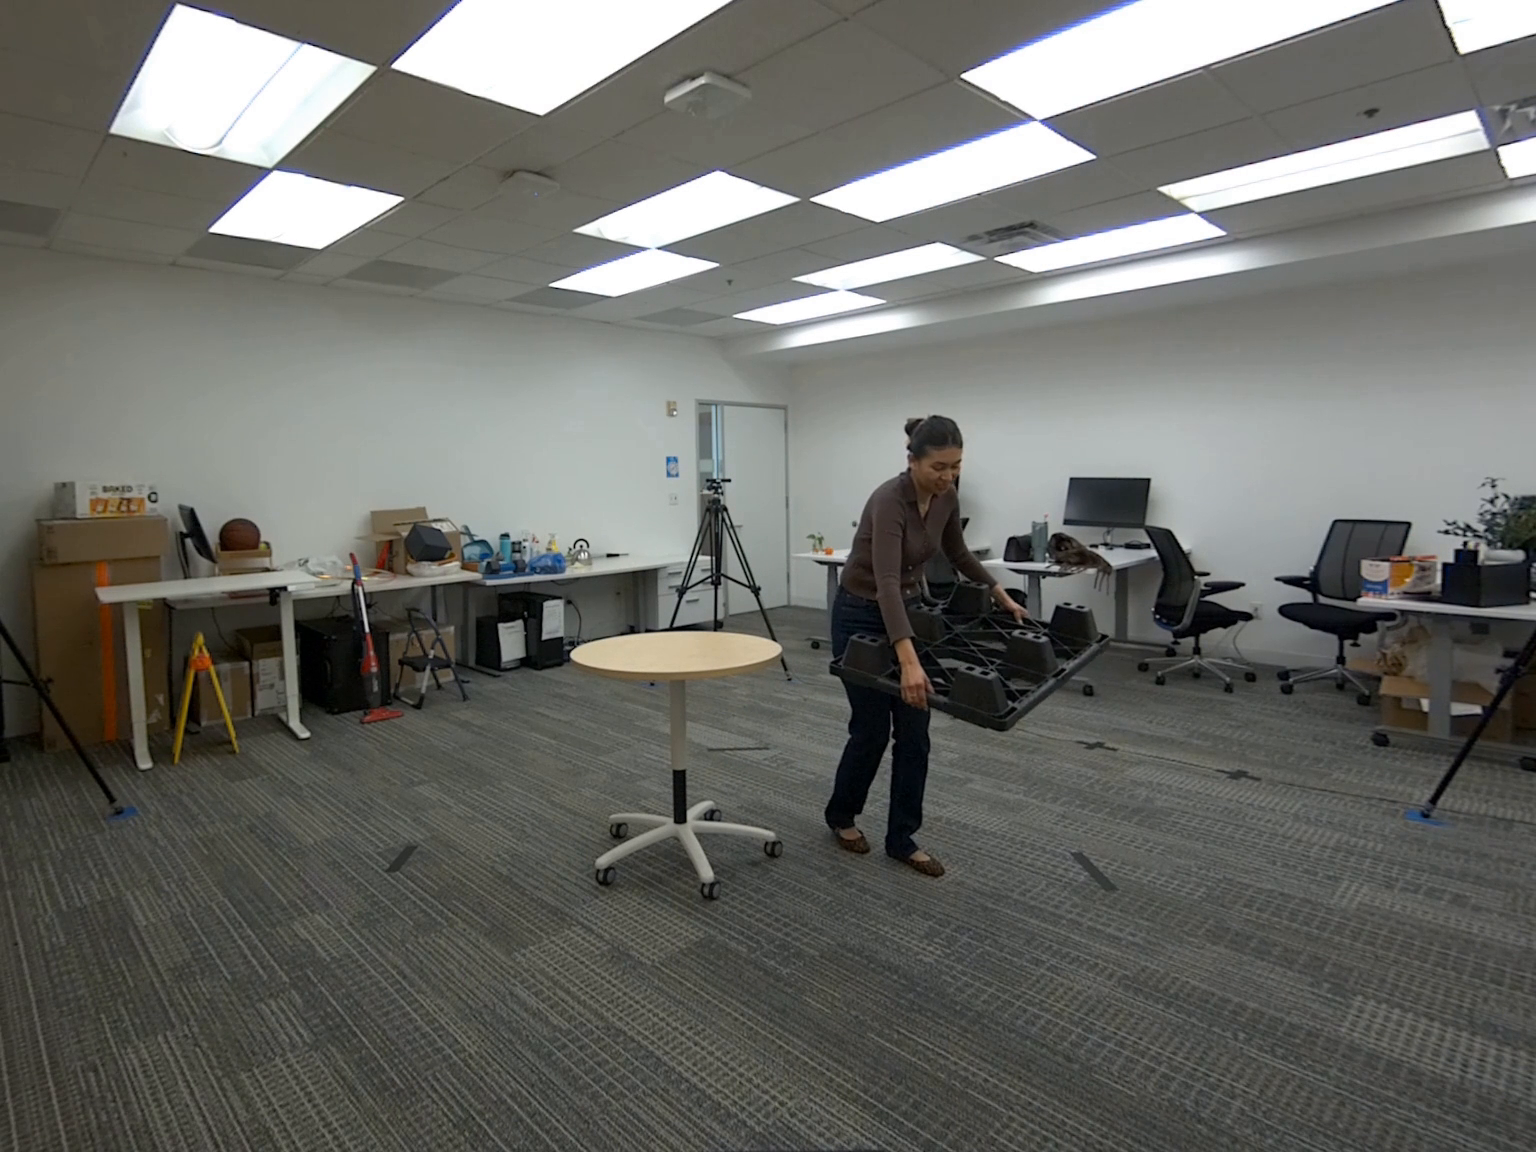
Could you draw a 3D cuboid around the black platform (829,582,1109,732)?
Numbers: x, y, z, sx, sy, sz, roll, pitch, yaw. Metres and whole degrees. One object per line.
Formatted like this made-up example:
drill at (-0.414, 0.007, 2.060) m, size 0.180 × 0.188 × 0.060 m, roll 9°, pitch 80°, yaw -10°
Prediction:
black platform at (0.675, 0.217, 2.795) m, size 0.626 × 0.141 × 0.790 m, roll 15°, pitch 24°, yaw 39°
